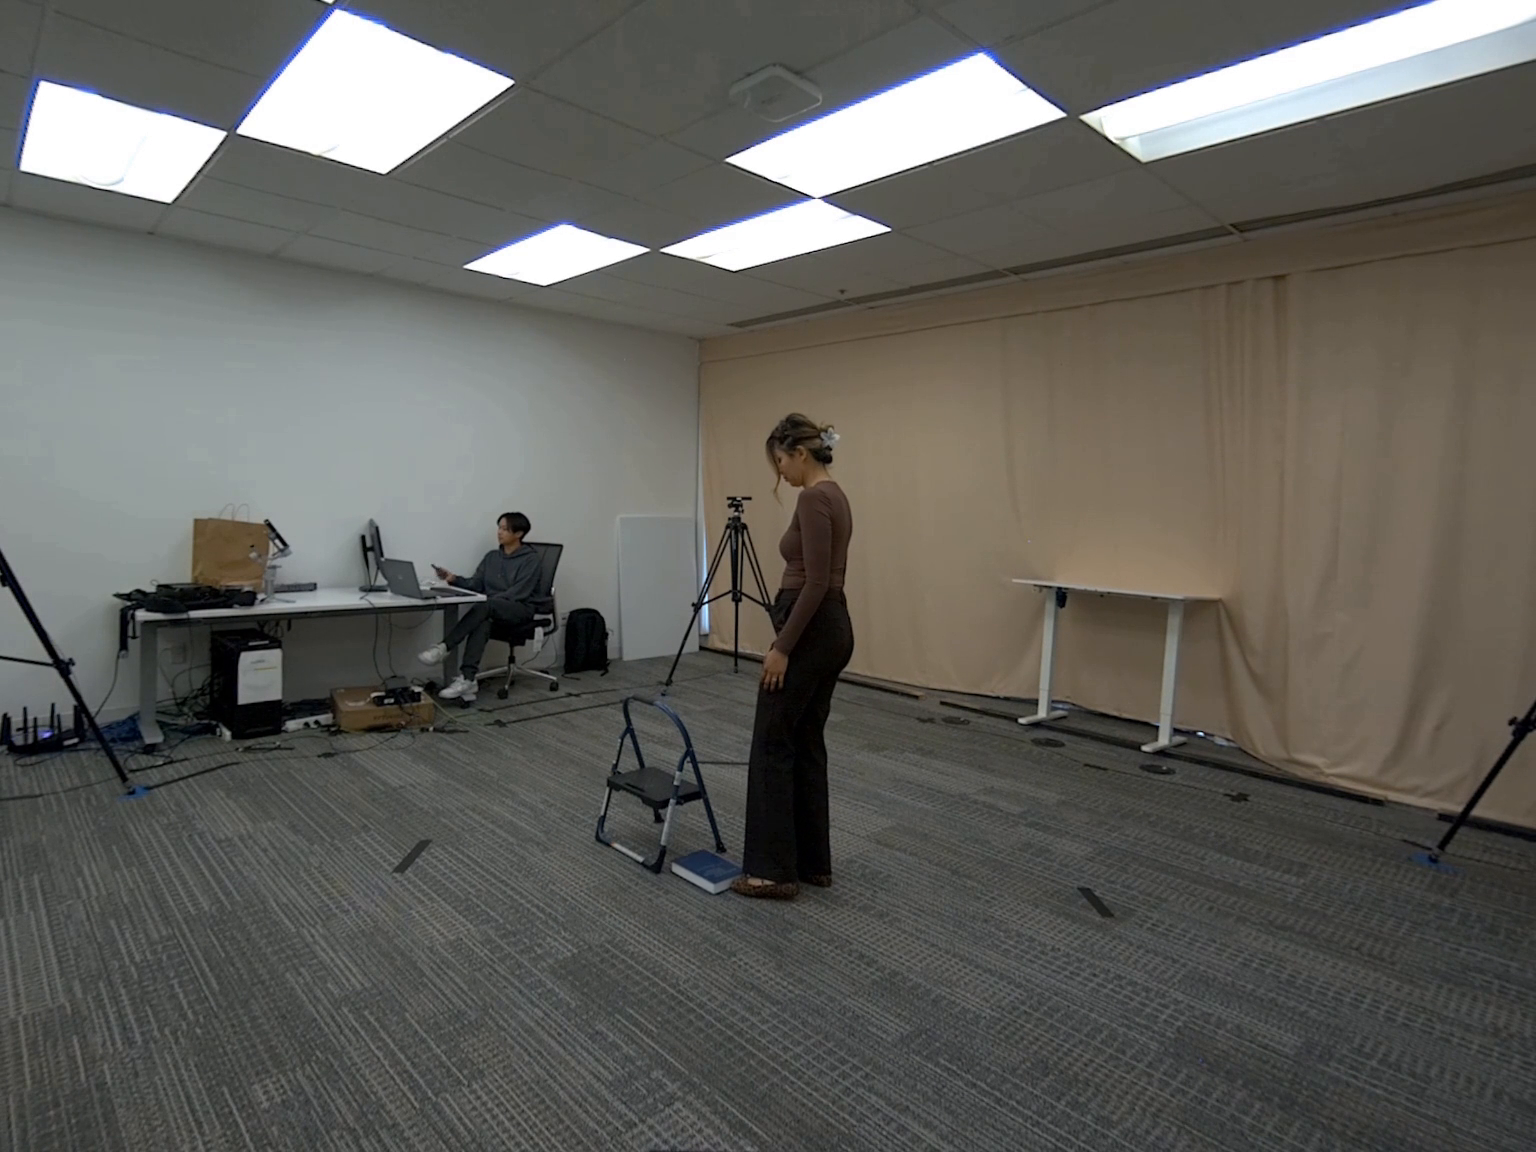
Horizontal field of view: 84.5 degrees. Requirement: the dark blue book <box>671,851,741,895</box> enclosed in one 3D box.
[{"bbox_3d":[-0.222,1.079,3.089,0.160,0.045,0.251,-3,7,-44],"label":"dark blue book"}]
